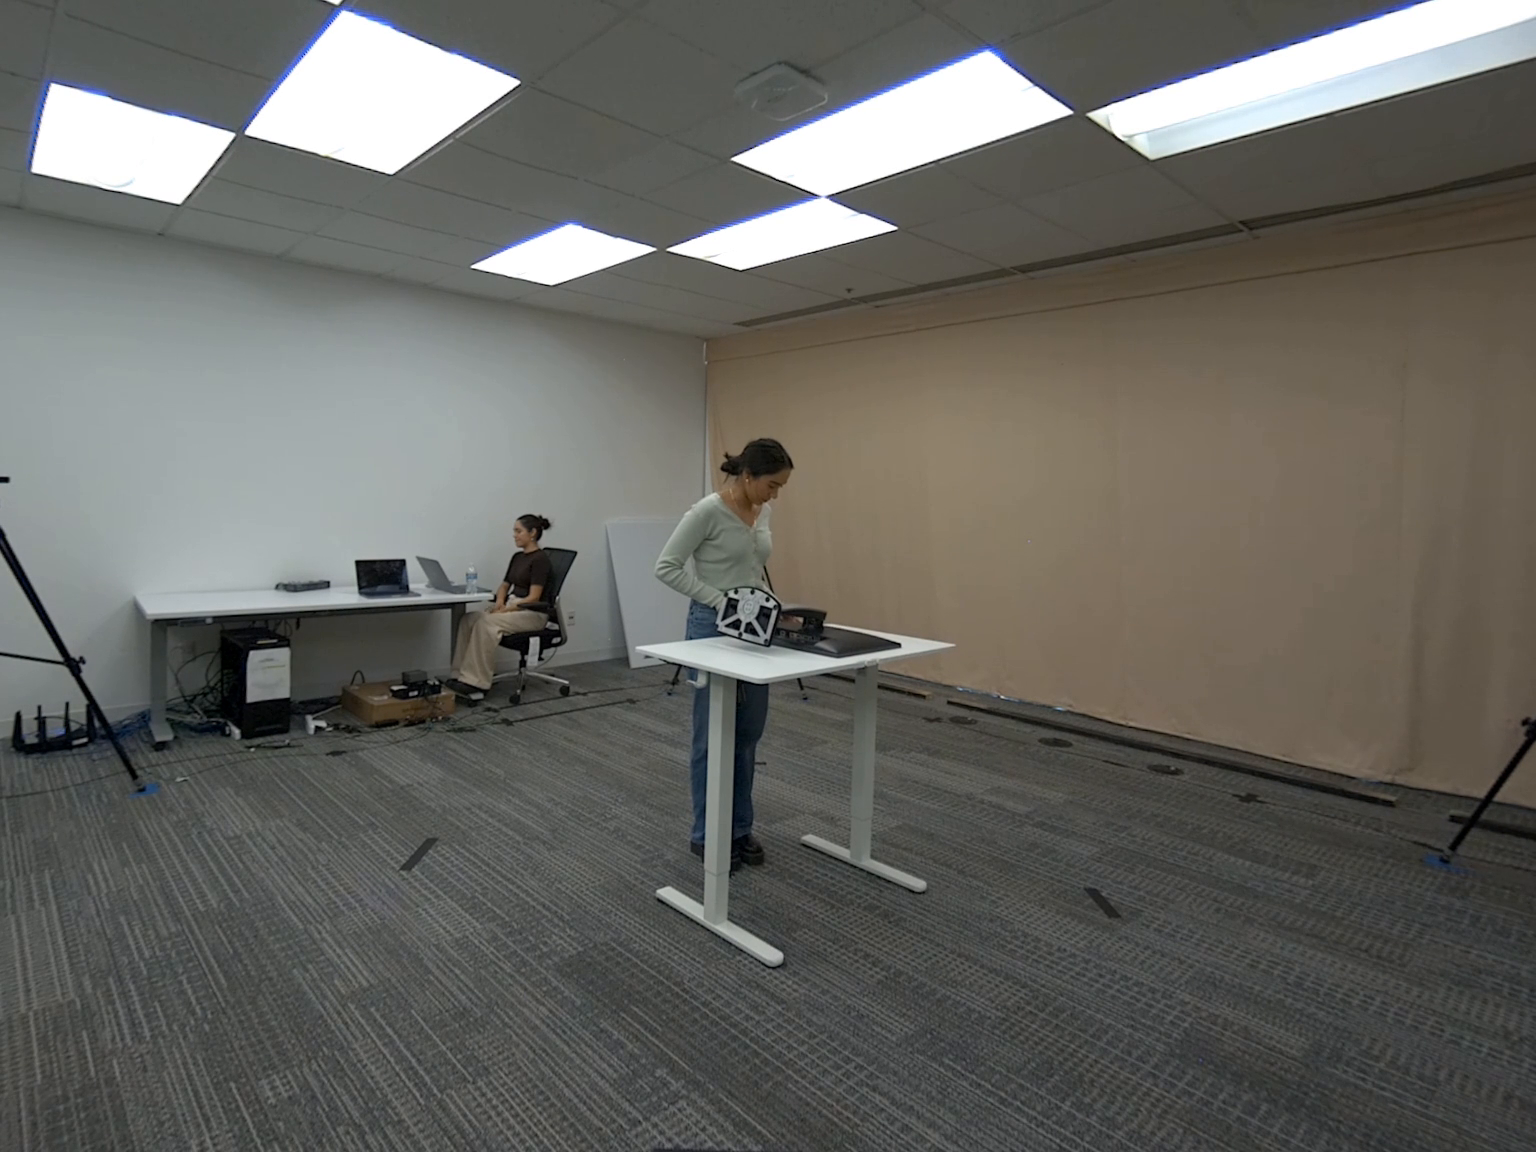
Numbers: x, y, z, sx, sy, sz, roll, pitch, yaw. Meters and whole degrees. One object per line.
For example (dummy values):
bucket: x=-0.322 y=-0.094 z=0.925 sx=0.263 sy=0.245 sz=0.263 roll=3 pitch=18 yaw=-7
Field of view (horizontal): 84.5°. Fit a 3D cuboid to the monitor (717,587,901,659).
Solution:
monitor: x=0.092 y=0.180 z=2.962 sx=0.507 sy=0.187 sz=0.554 roll=16 pitch=-3 yaw=-43
